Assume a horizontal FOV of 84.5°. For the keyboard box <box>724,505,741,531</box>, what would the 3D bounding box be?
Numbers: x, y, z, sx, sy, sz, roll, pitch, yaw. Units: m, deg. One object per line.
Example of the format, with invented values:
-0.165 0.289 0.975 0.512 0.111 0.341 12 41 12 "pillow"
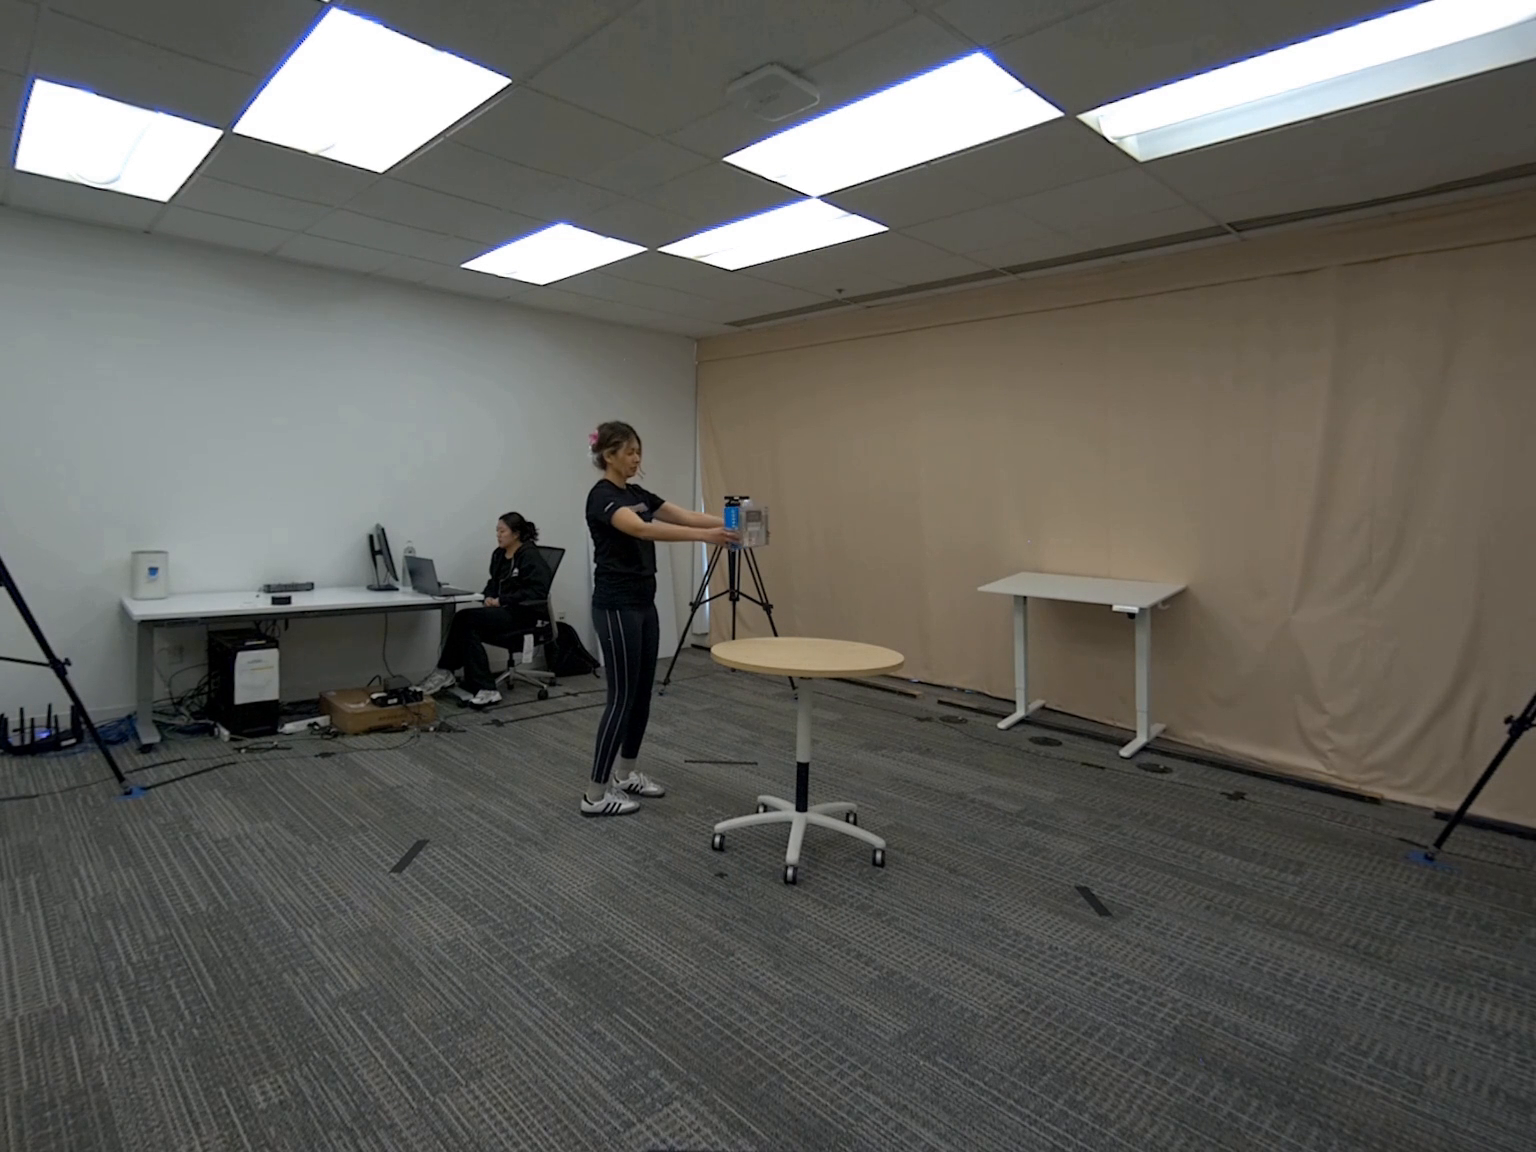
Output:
-0.093 -0.207 3.612 0.060 0.175 0.432 0 4 15 "keyboard box"
